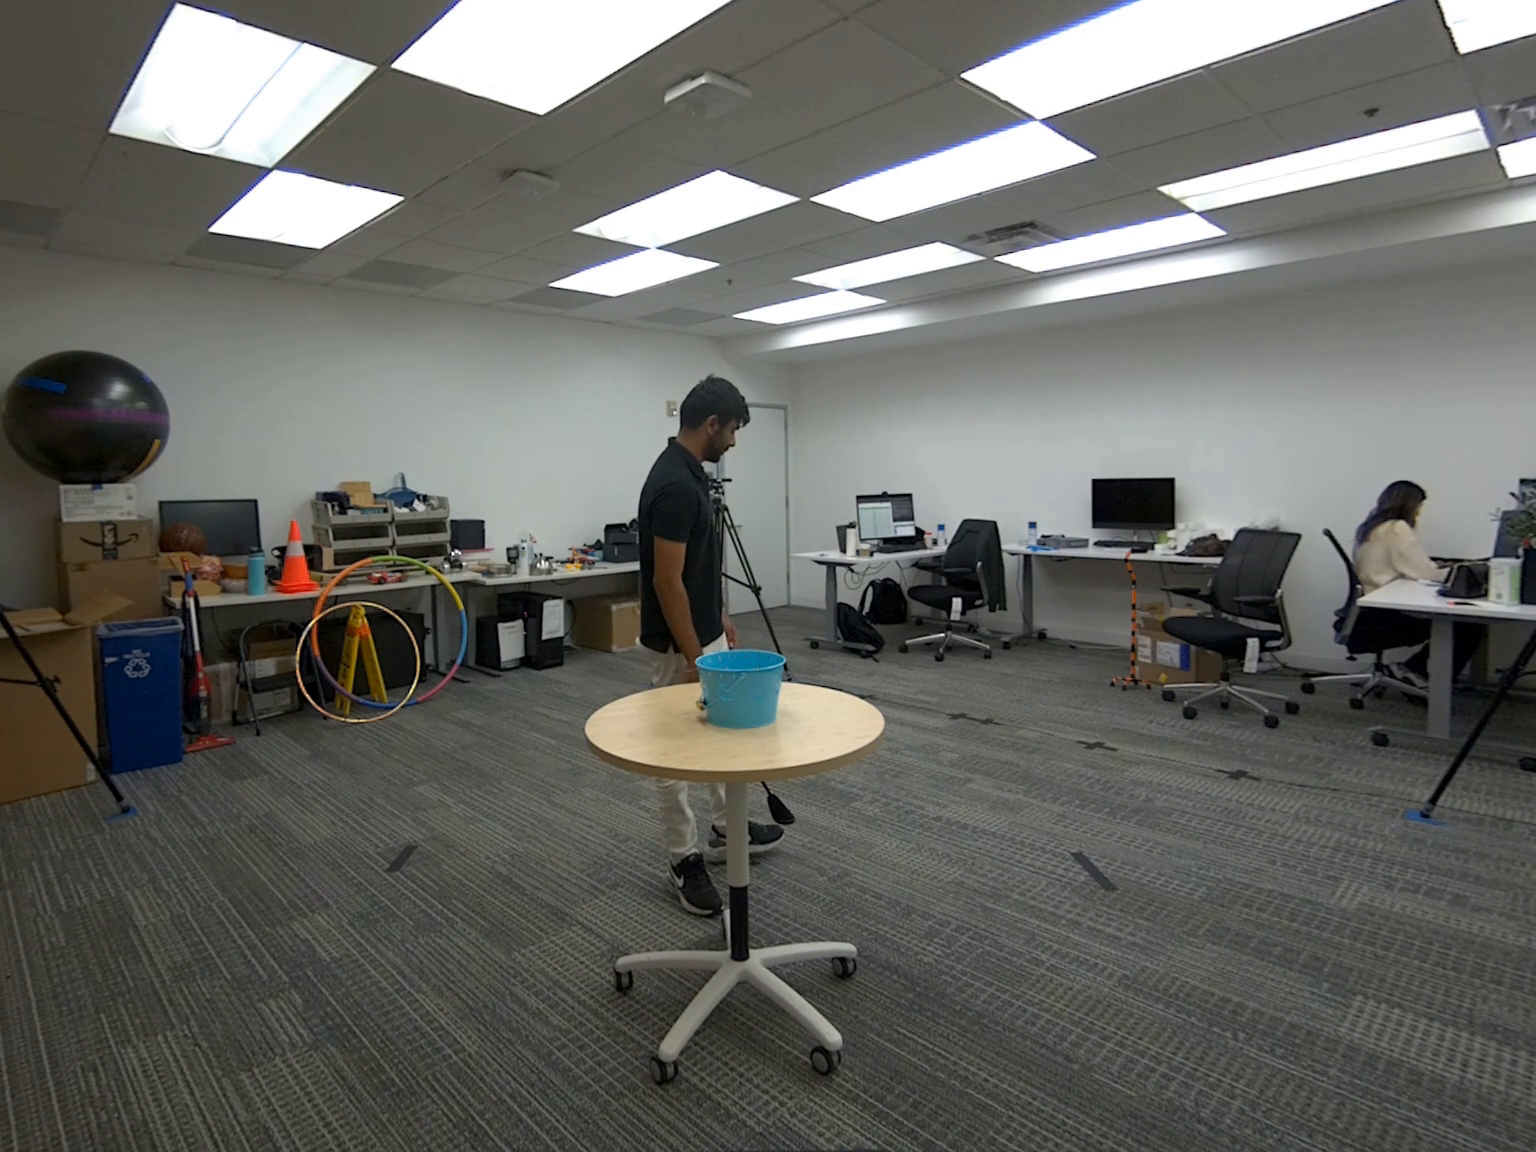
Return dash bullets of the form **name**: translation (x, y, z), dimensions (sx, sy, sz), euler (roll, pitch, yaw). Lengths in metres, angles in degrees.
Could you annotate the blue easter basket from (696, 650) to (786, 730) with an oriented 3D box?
- **blue easter basket**: translation (-0.062, 0.295, 2.190), dimensions (0.243, 0.155, 0.245), euler (0, 8, -2)
